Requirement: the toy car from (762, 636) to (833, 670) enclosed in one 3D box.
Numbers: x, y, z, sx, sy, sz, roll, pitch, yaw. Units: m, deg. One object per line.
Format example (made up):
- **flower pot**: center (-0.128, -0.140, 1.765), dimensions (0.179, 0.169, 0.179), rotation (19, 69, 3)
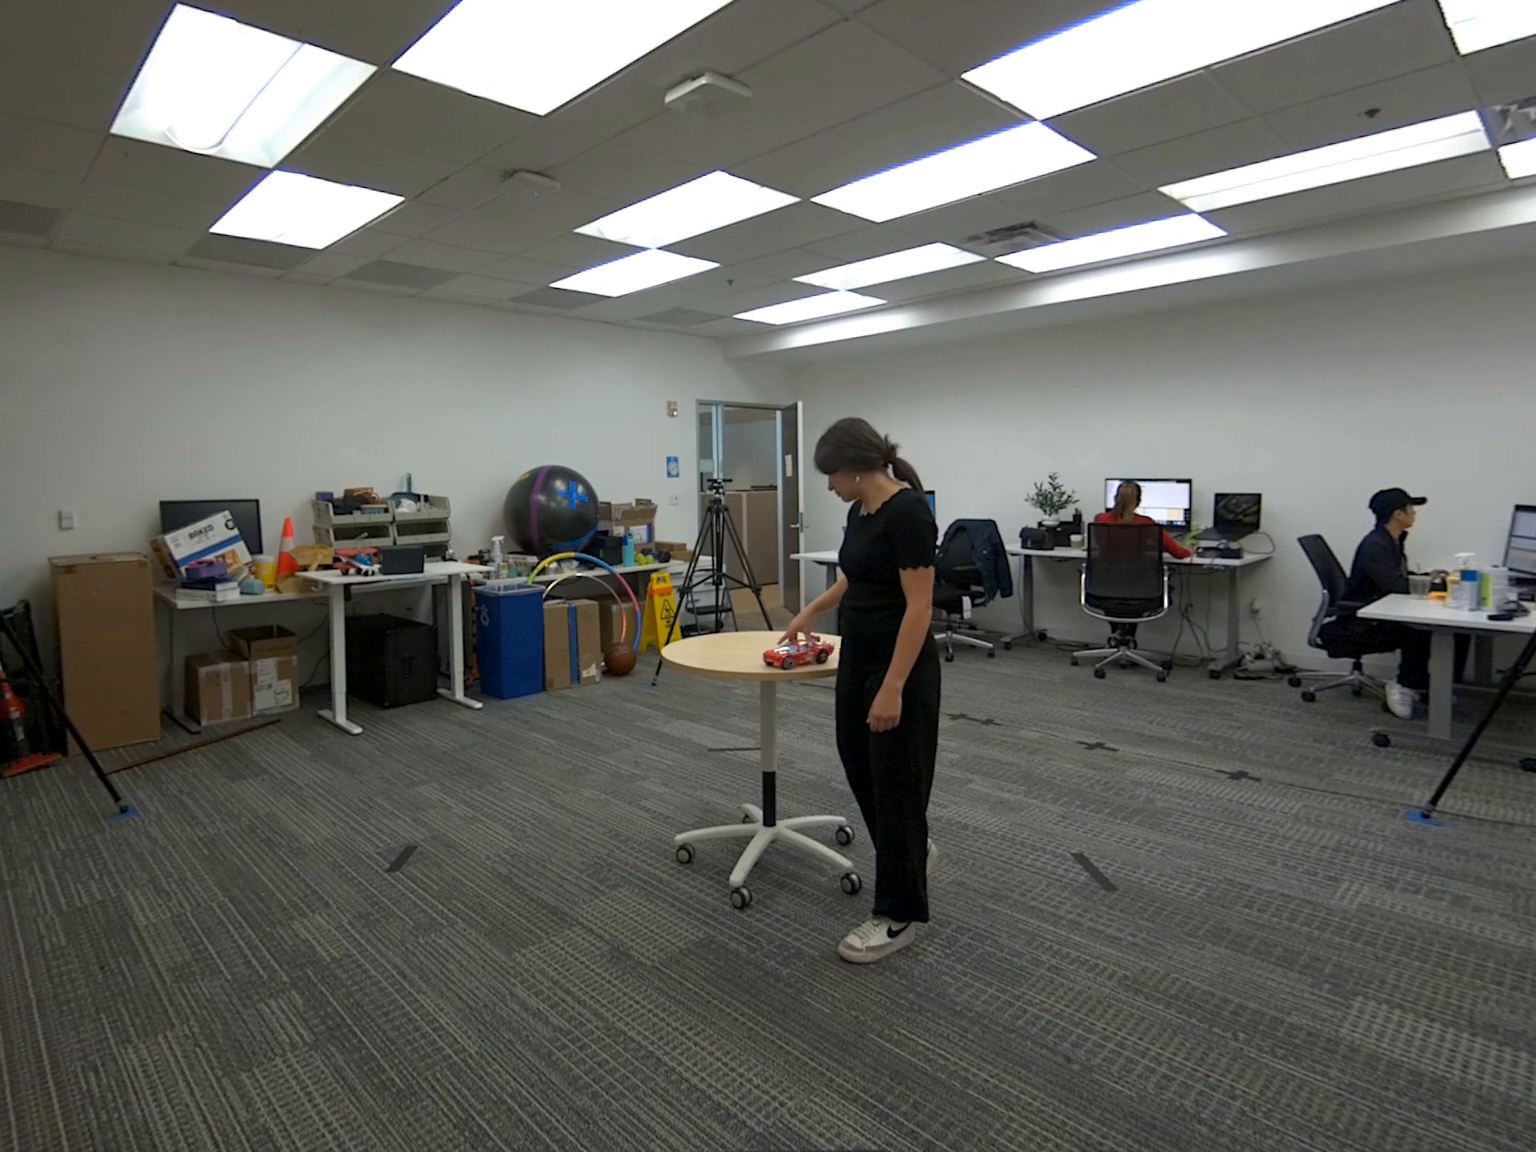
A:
- **toy car**: center (0.113, 0.259, 2.823), dimensions (0.250, 0.082, 0.134), rotation (-18, 14, -34)
